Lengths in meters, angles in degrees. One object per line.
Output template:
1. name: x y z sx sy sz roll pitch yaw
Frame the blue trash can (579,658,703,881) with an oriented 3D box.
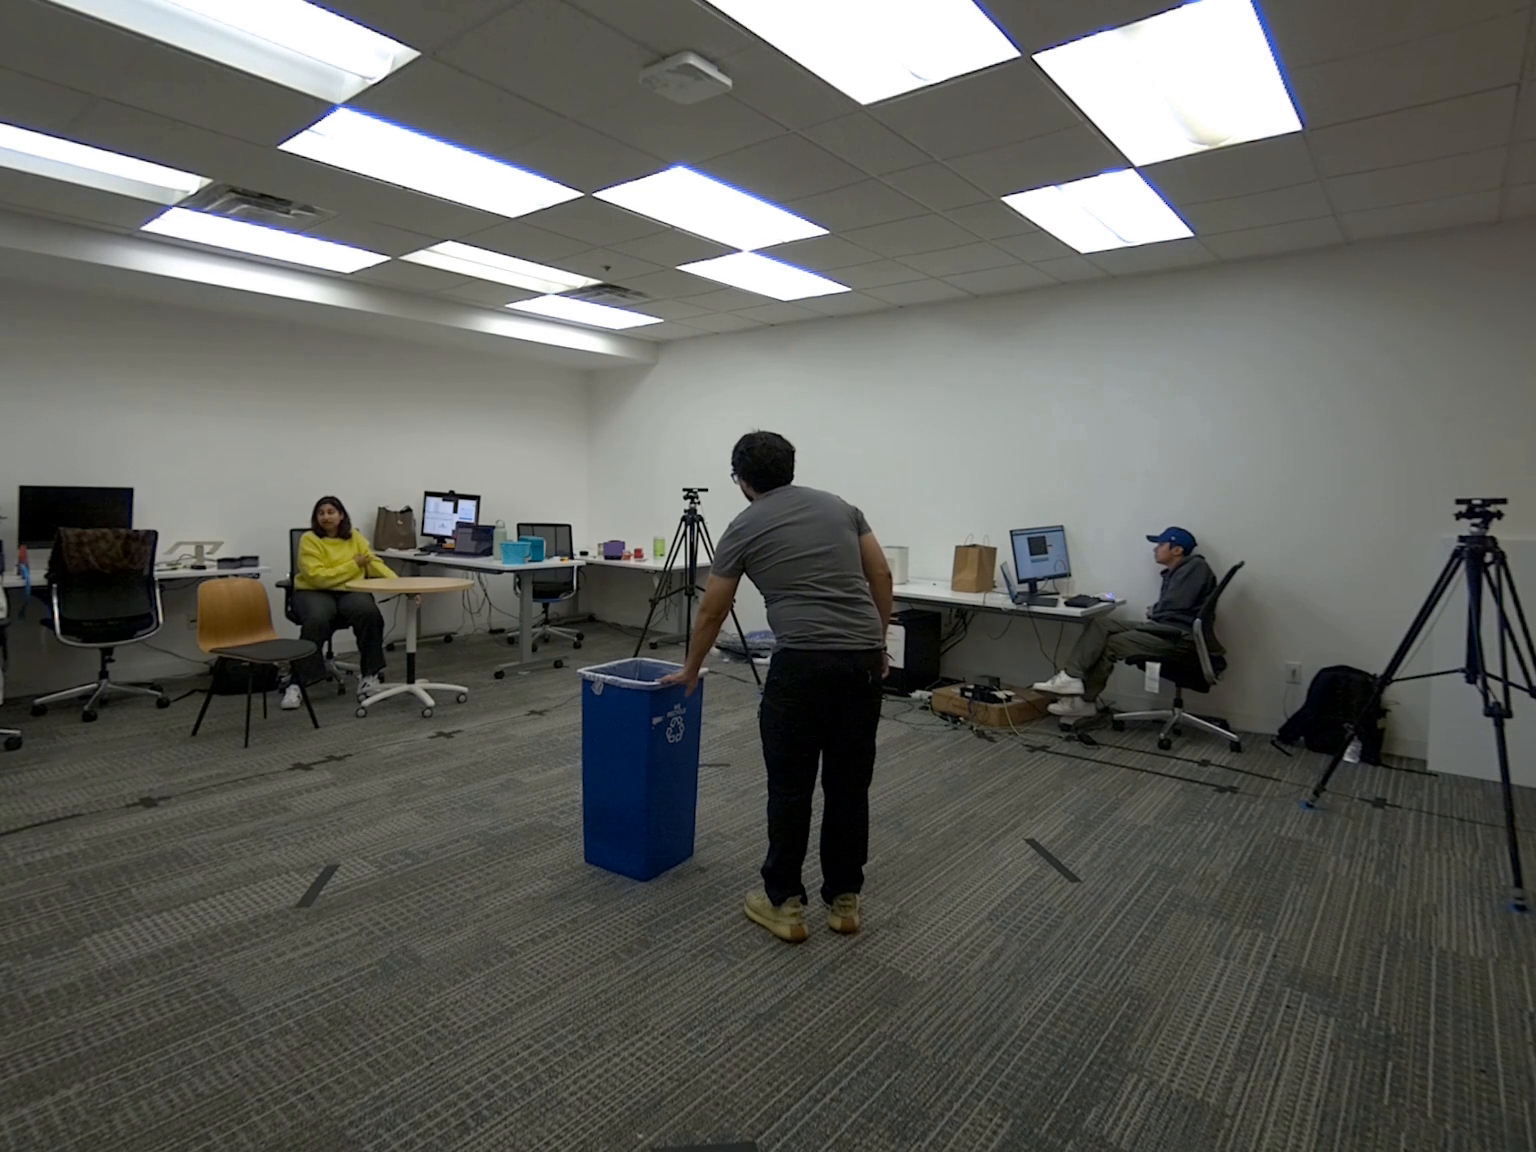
1. blue trash can: -0.483 0.699 3.189 0.390 0.711 0.364 3 4 33
